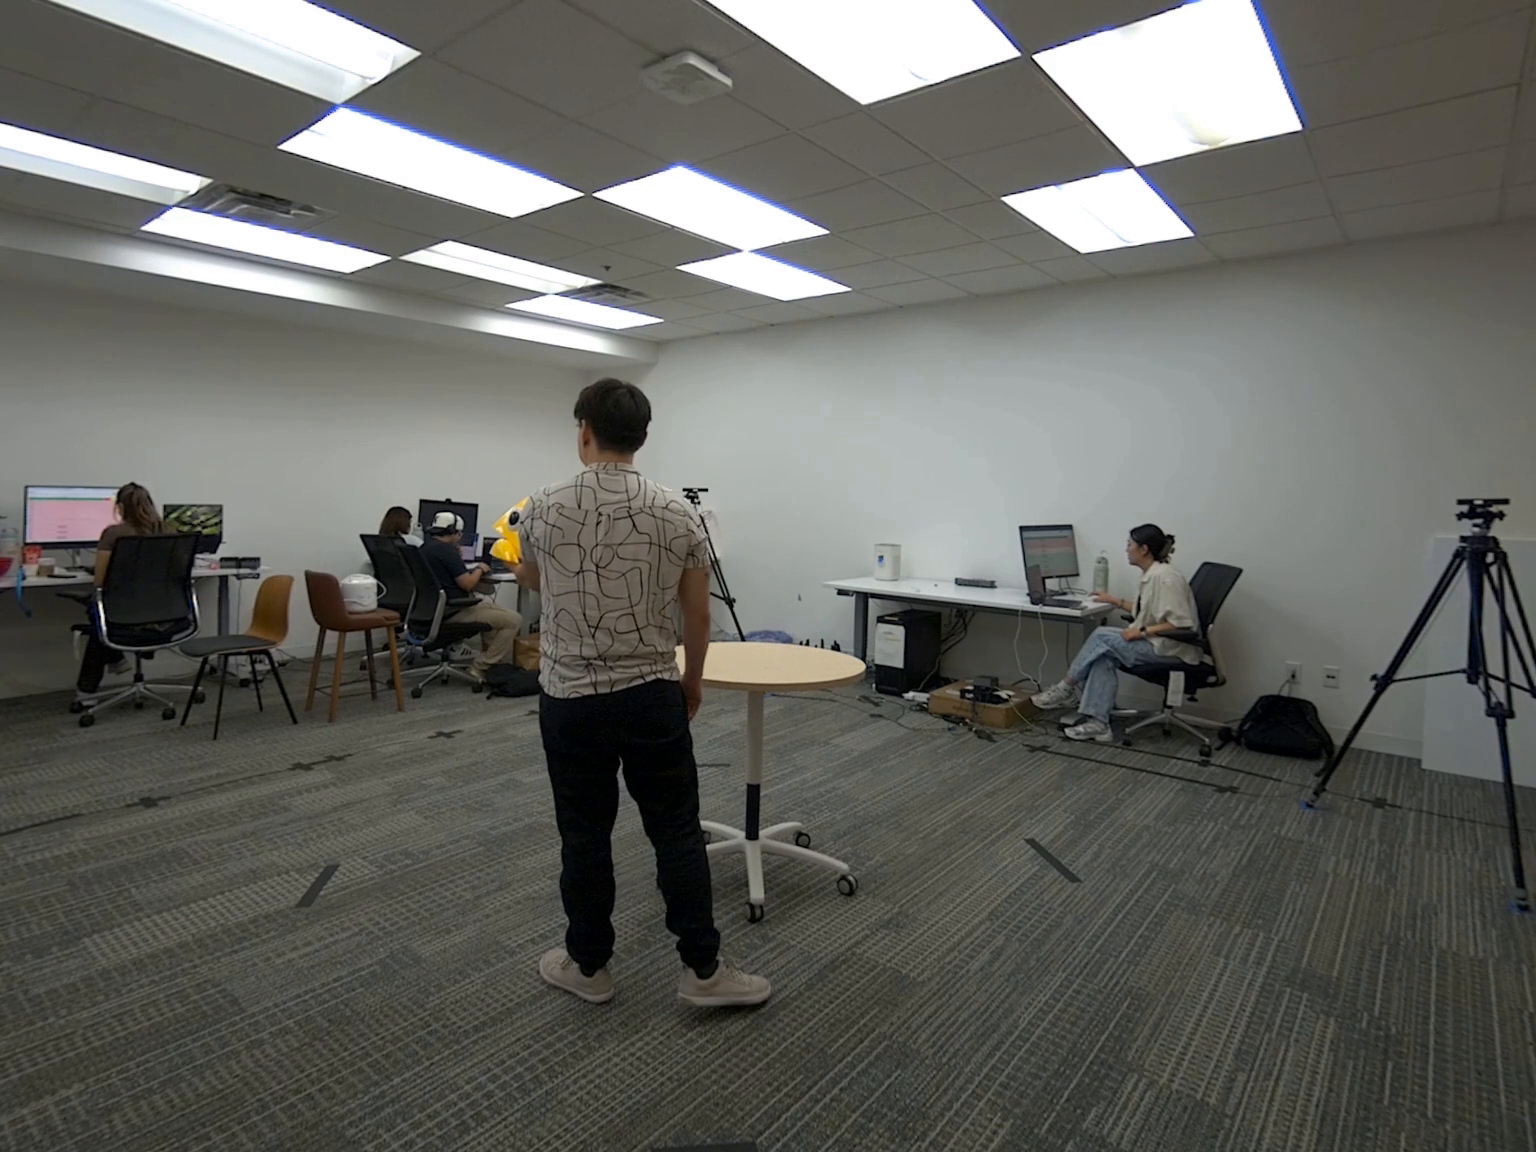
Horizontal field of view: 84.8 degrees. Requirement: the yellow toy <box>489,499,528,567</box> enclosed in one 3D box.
[{"bbox_3d":[-0.765,-0.154,2.737,0.198,0.230,0.199,15,1,-29],"label":"yellow toy"}]
